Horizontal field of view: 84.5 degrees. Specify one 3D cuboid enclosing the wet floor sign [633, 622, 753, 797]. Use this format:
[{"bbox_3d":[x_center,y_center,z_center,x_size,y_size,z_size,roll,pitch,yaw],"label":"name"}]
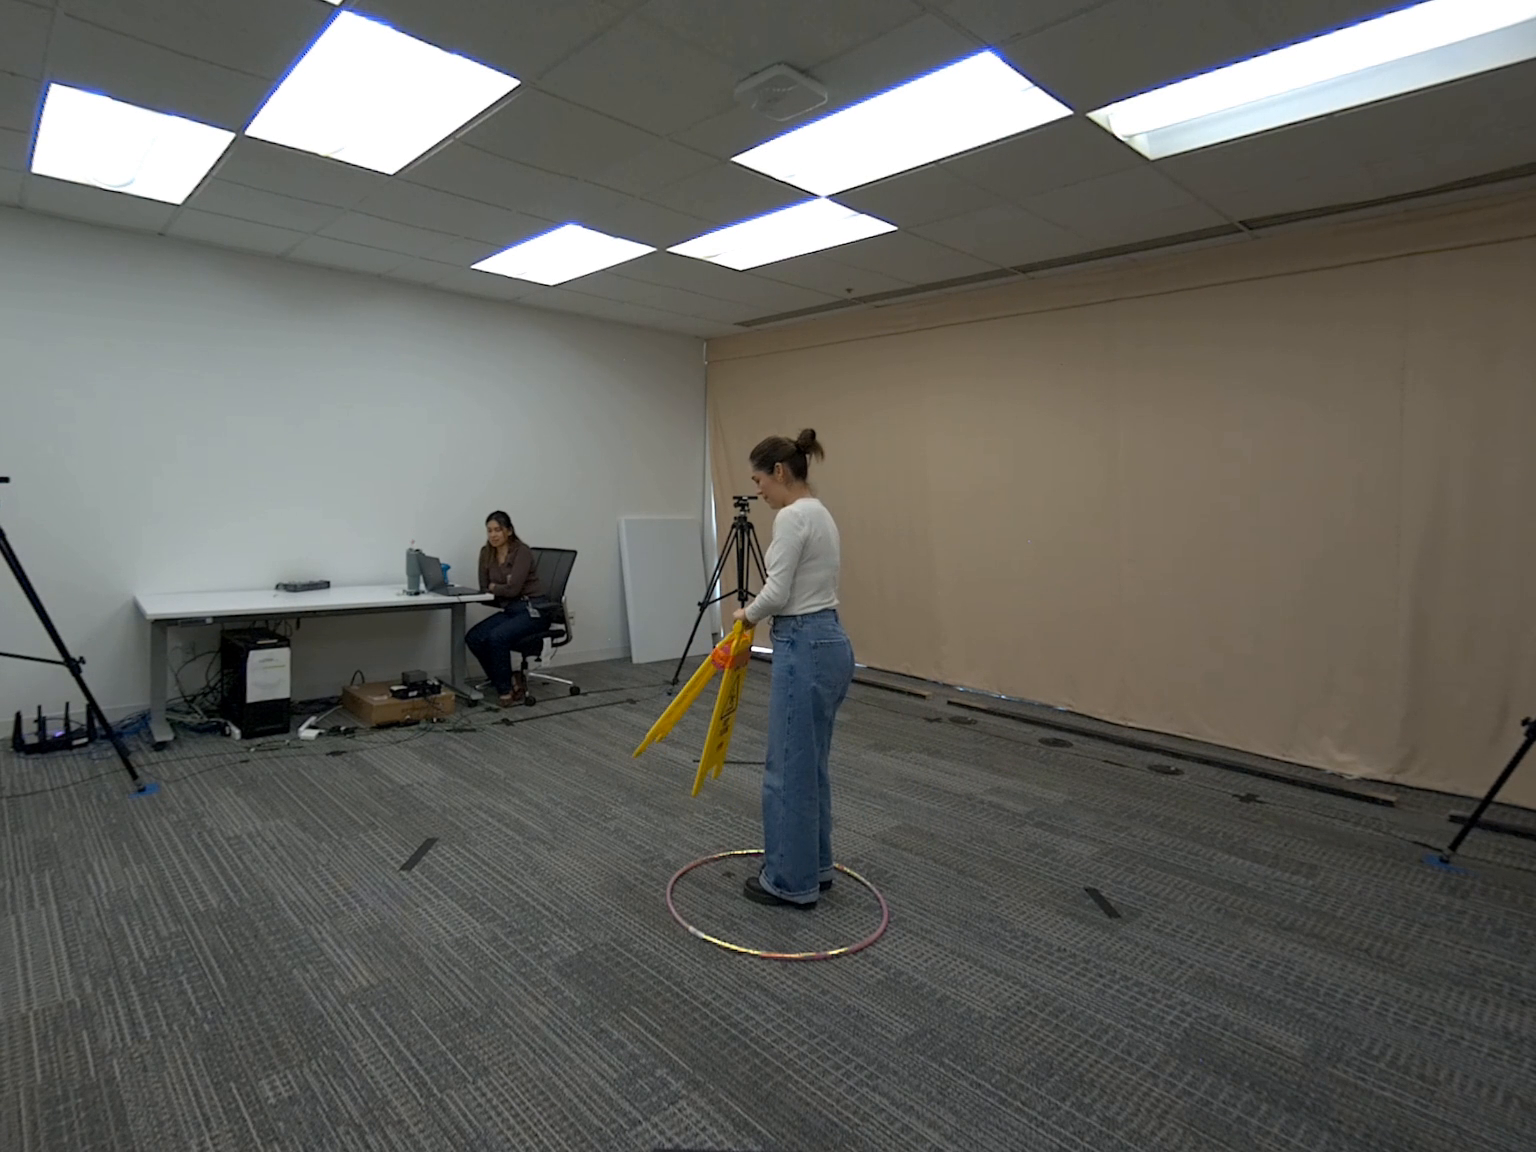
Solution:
[{"bbox_3d":[-0.199,0.438,3.121,0.294,0.644,0.279,28,9,14],"label":"wet floor sign"}]
